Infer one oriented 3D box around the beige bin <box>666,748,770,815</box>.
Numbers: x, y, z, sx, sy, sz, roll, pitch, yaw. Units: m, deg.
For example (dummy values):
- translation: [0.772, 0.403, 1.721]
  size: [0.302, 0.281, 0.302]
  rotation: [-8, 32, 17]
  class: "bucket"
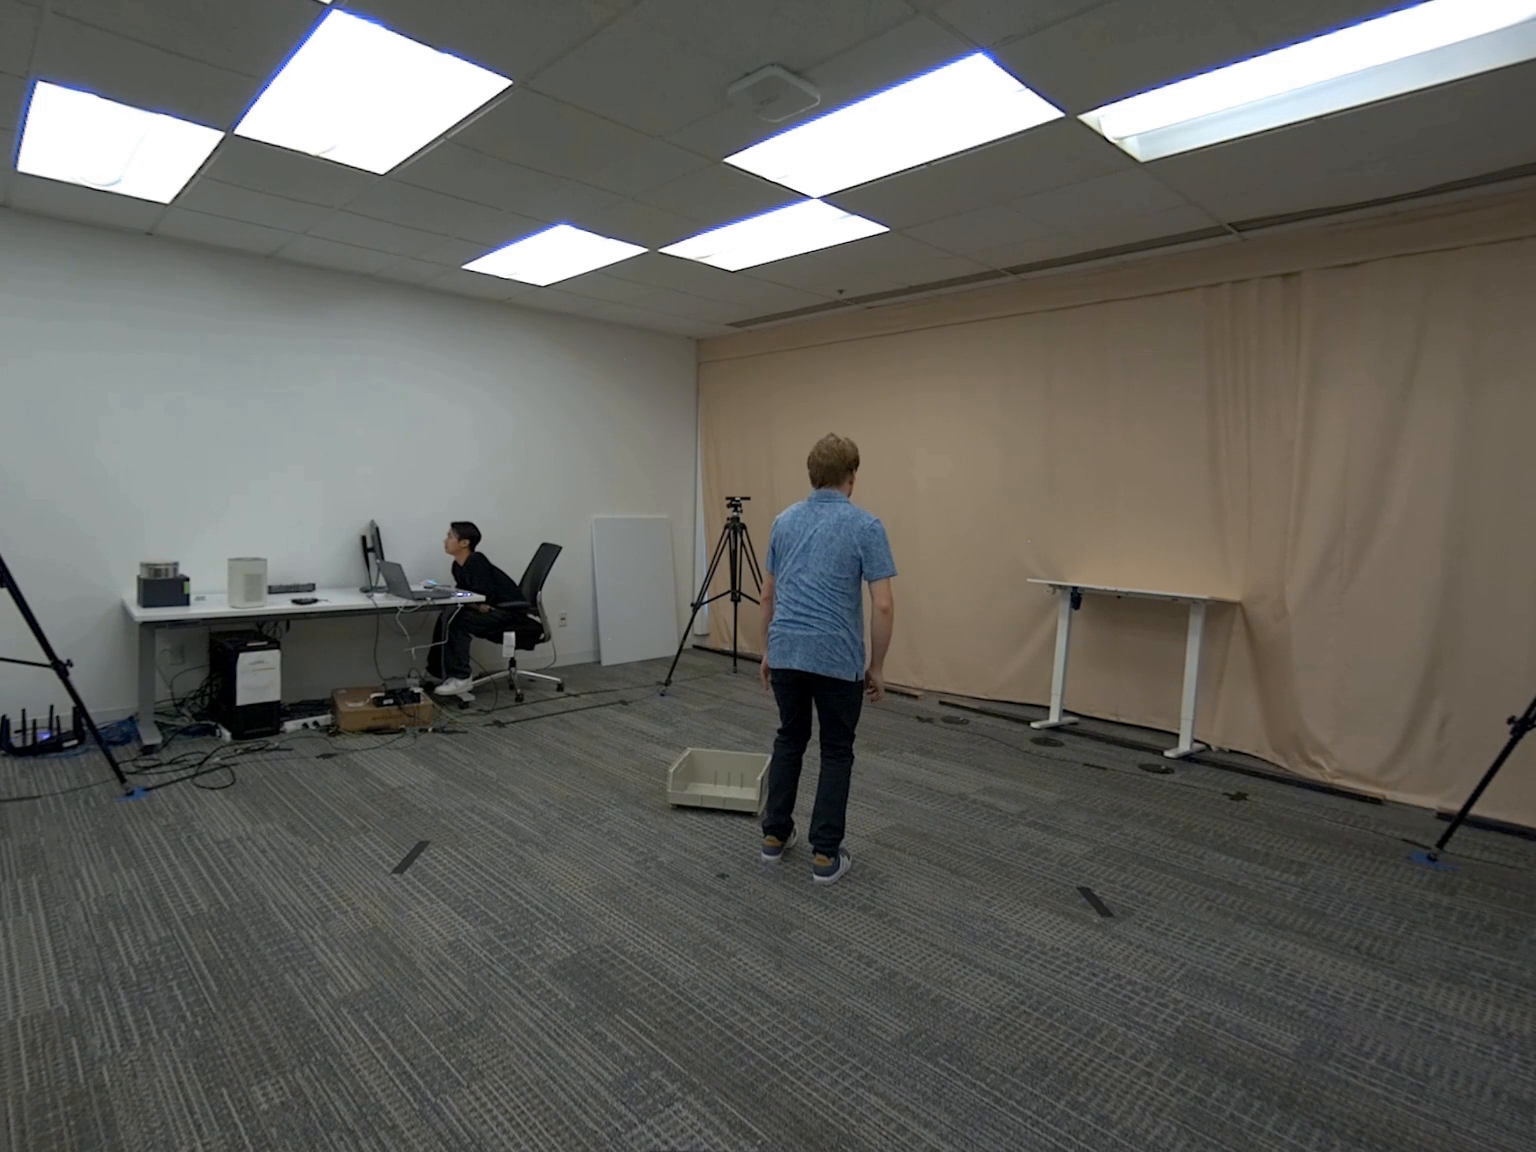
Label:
- translation: [-0.223, 0.949, 3.880]
  size: [0.426, 0.188, 0.375]
  rotation: [1, 4, 10]
  class: "beige bin"
